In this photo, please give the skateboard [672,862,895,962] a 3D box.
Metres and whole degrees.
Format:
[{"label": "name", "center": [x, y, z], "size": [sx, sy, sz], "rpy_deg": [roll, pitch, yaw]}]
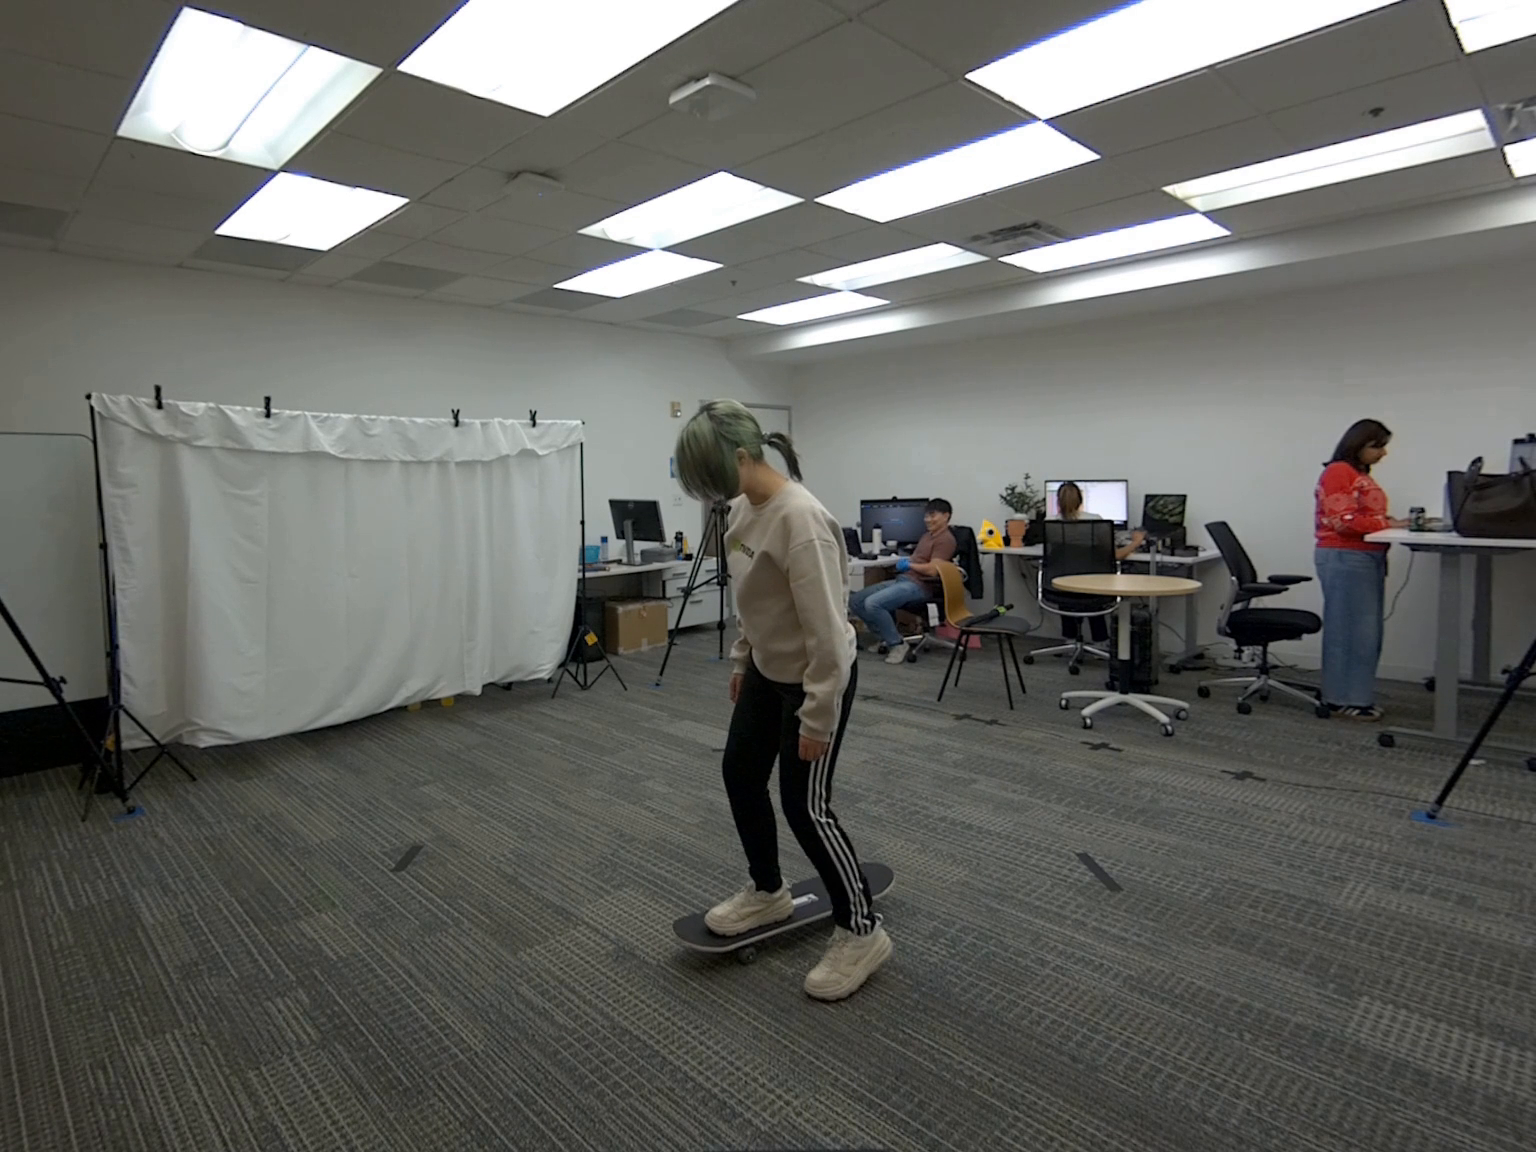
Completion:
[{"label": "skateboard", "center": [0.078, 1.049, 2.634], "size": [0.767, 0.109, 0.199], "rpy_deg": [-6, 9, -30]}]
